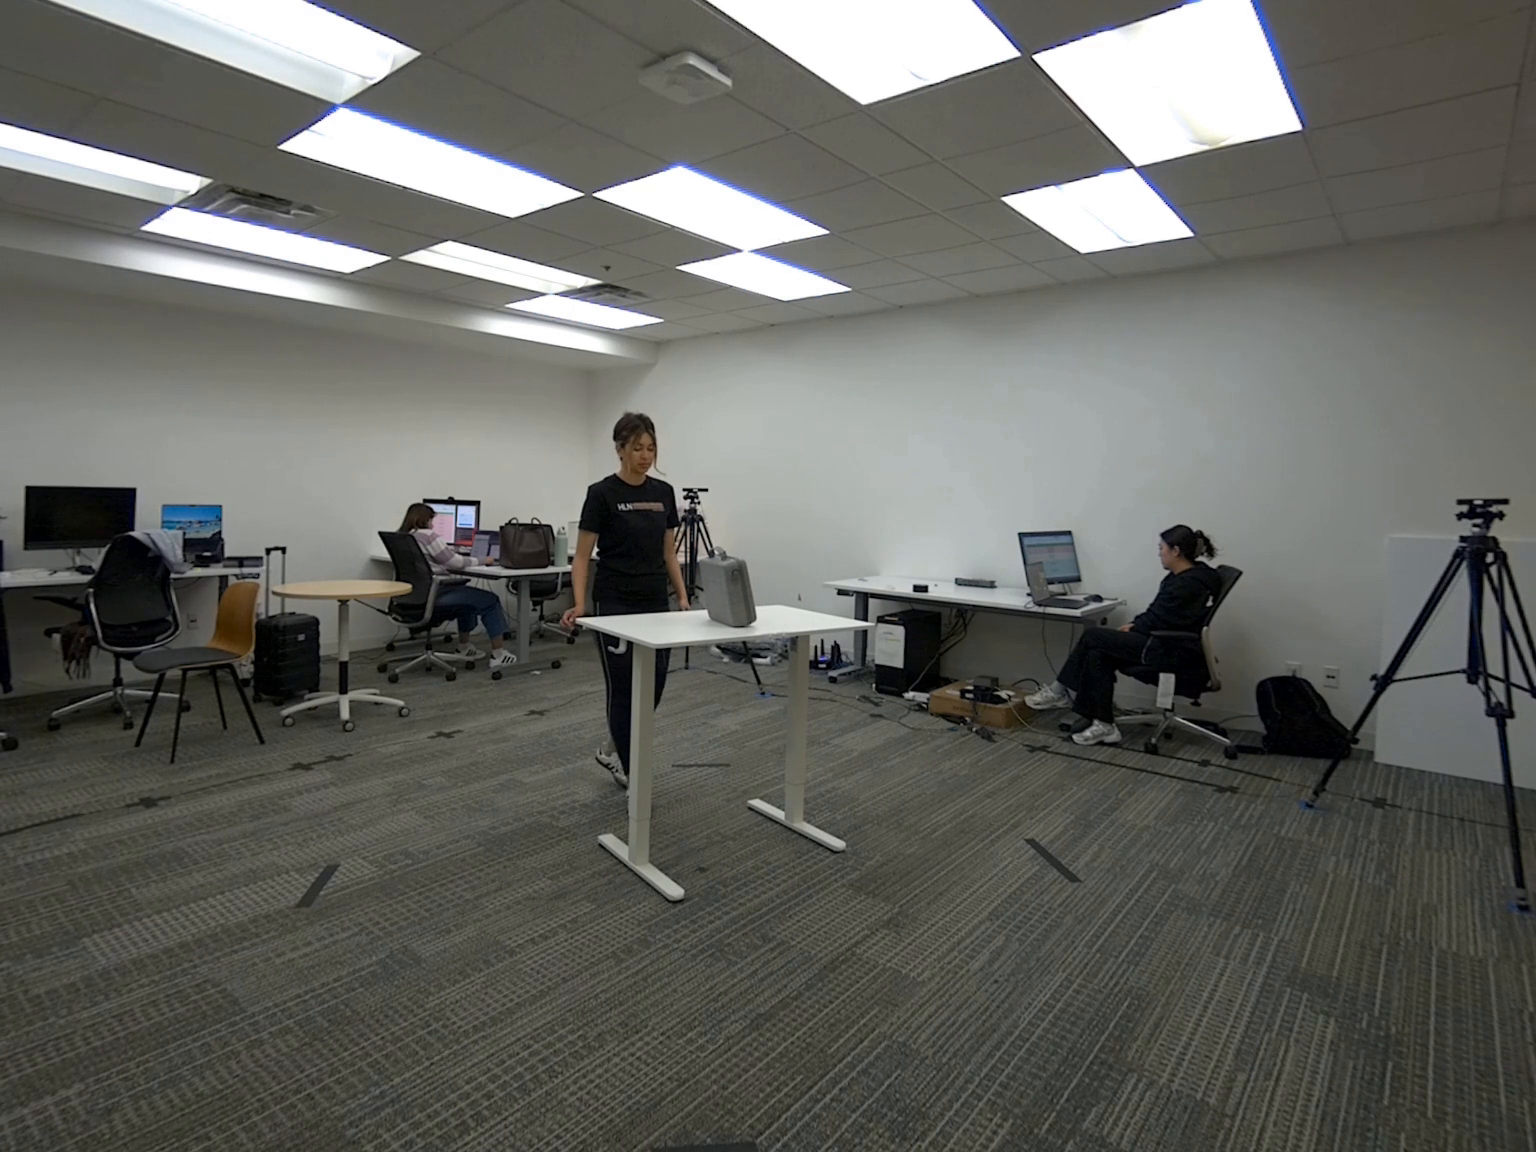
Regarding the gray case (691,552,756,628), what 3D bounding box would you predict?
[{"bbox_3d":[-0.165,0.046,3.219,0.102,0.259,0.264,-9,8,-24],"label":"gray case"}]
